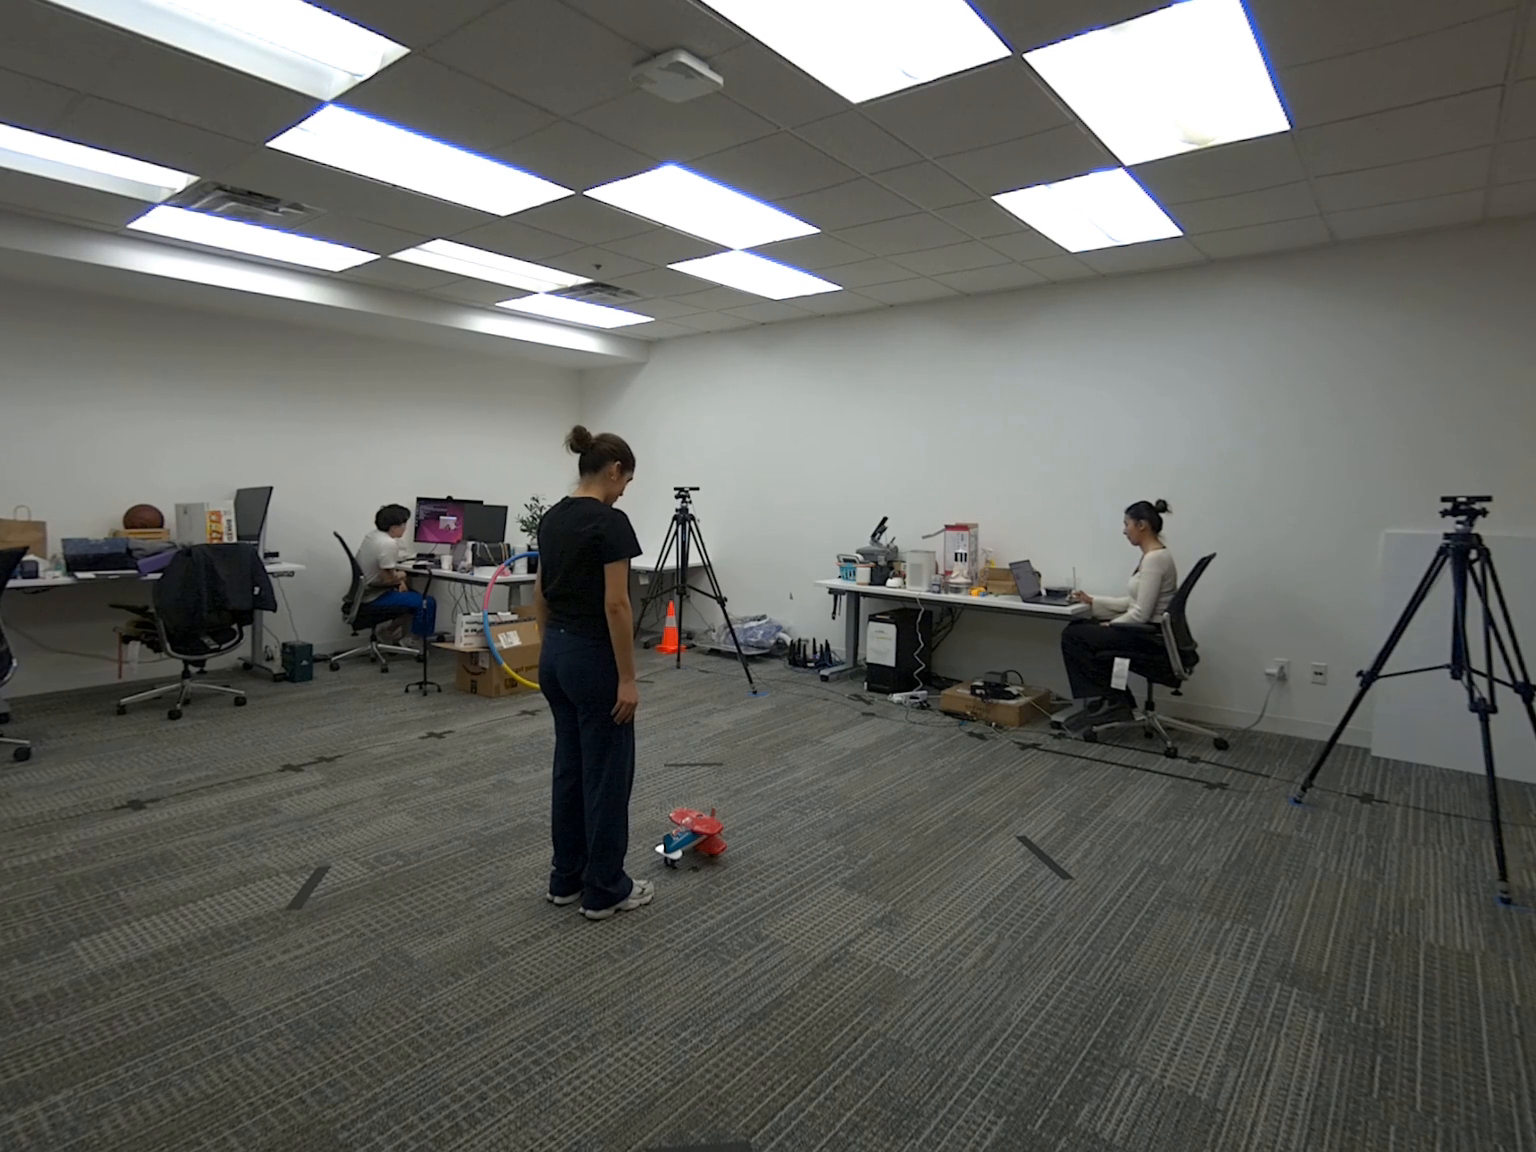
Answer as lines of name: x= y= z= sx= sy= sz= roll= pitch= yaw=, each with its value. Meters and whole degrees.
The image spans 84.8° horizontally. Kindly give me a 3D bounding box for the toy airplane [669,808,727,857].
toy airplane: x=-0.263 y=0.981 z=3.184 sx=0.255 sy=0.156 sz=0.255 roll=1 pitch=3 yaw=15
